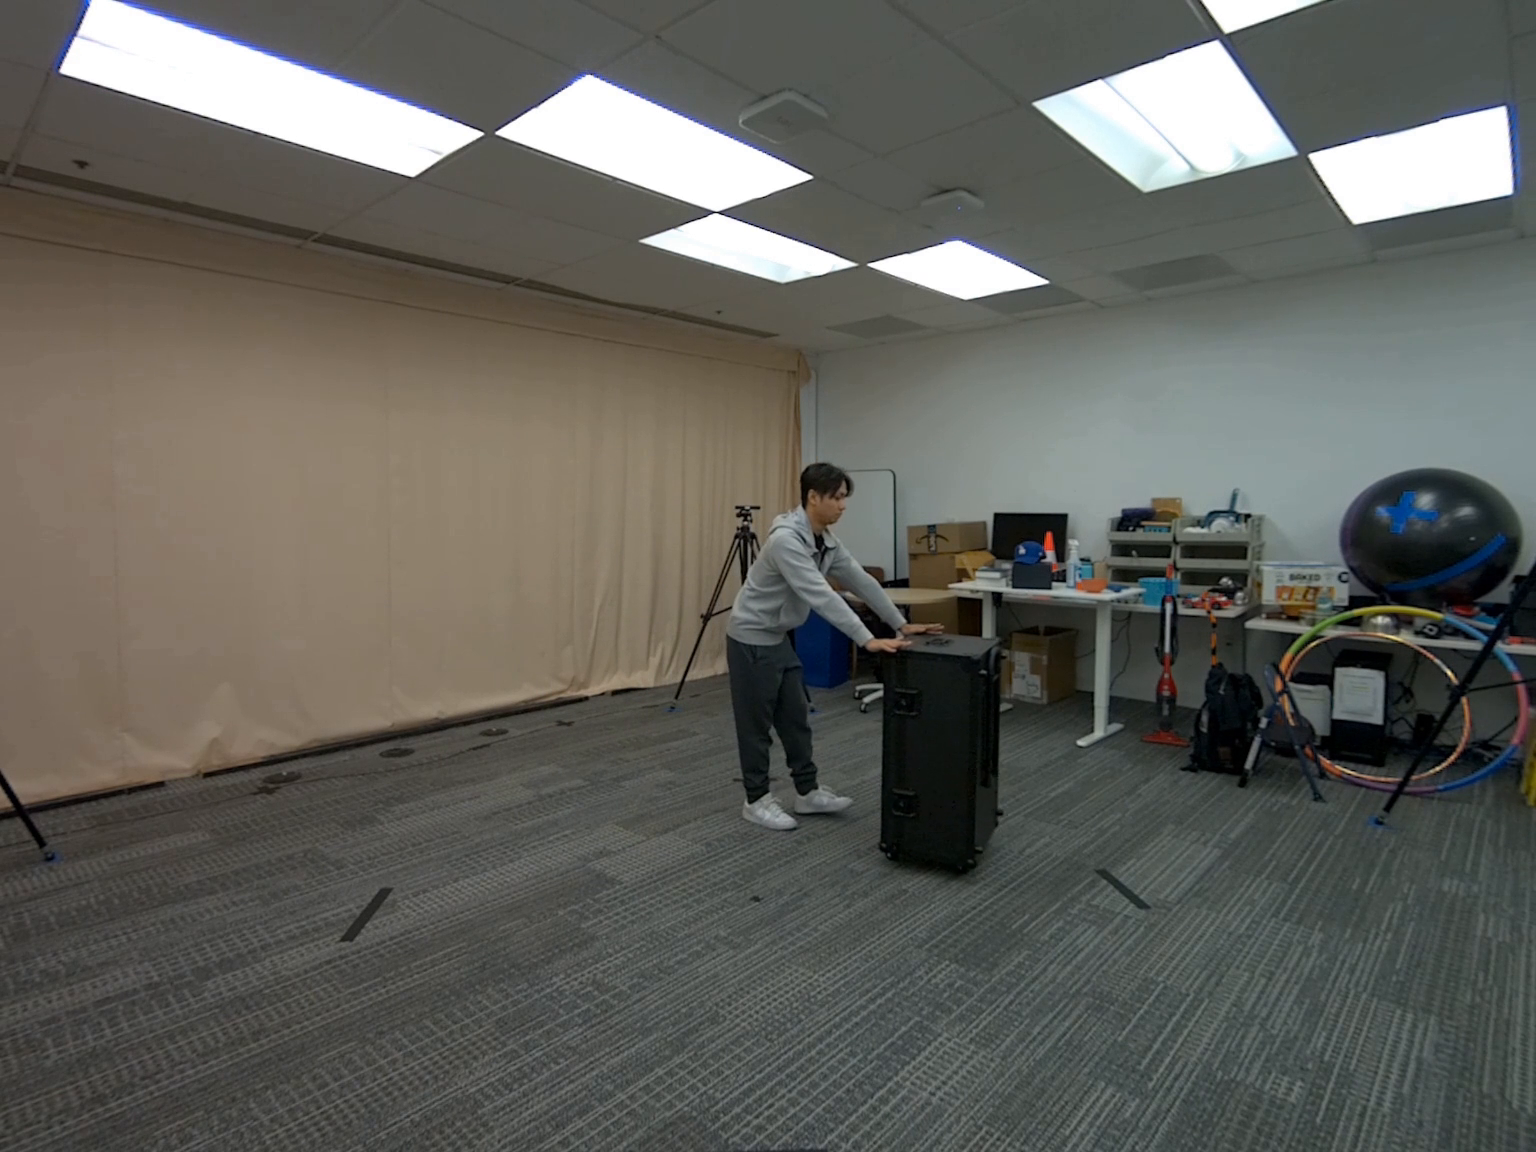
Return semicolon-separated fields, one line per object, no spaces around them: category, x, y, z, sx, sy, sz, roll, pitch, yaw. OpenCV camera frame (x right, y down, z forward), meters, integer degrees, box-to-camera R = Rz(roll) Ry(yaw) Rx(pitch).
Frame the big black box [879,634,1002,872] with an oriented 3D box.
big black box;0.708;0.688;3.334;0.407;0.859;0.508;3;4;27
